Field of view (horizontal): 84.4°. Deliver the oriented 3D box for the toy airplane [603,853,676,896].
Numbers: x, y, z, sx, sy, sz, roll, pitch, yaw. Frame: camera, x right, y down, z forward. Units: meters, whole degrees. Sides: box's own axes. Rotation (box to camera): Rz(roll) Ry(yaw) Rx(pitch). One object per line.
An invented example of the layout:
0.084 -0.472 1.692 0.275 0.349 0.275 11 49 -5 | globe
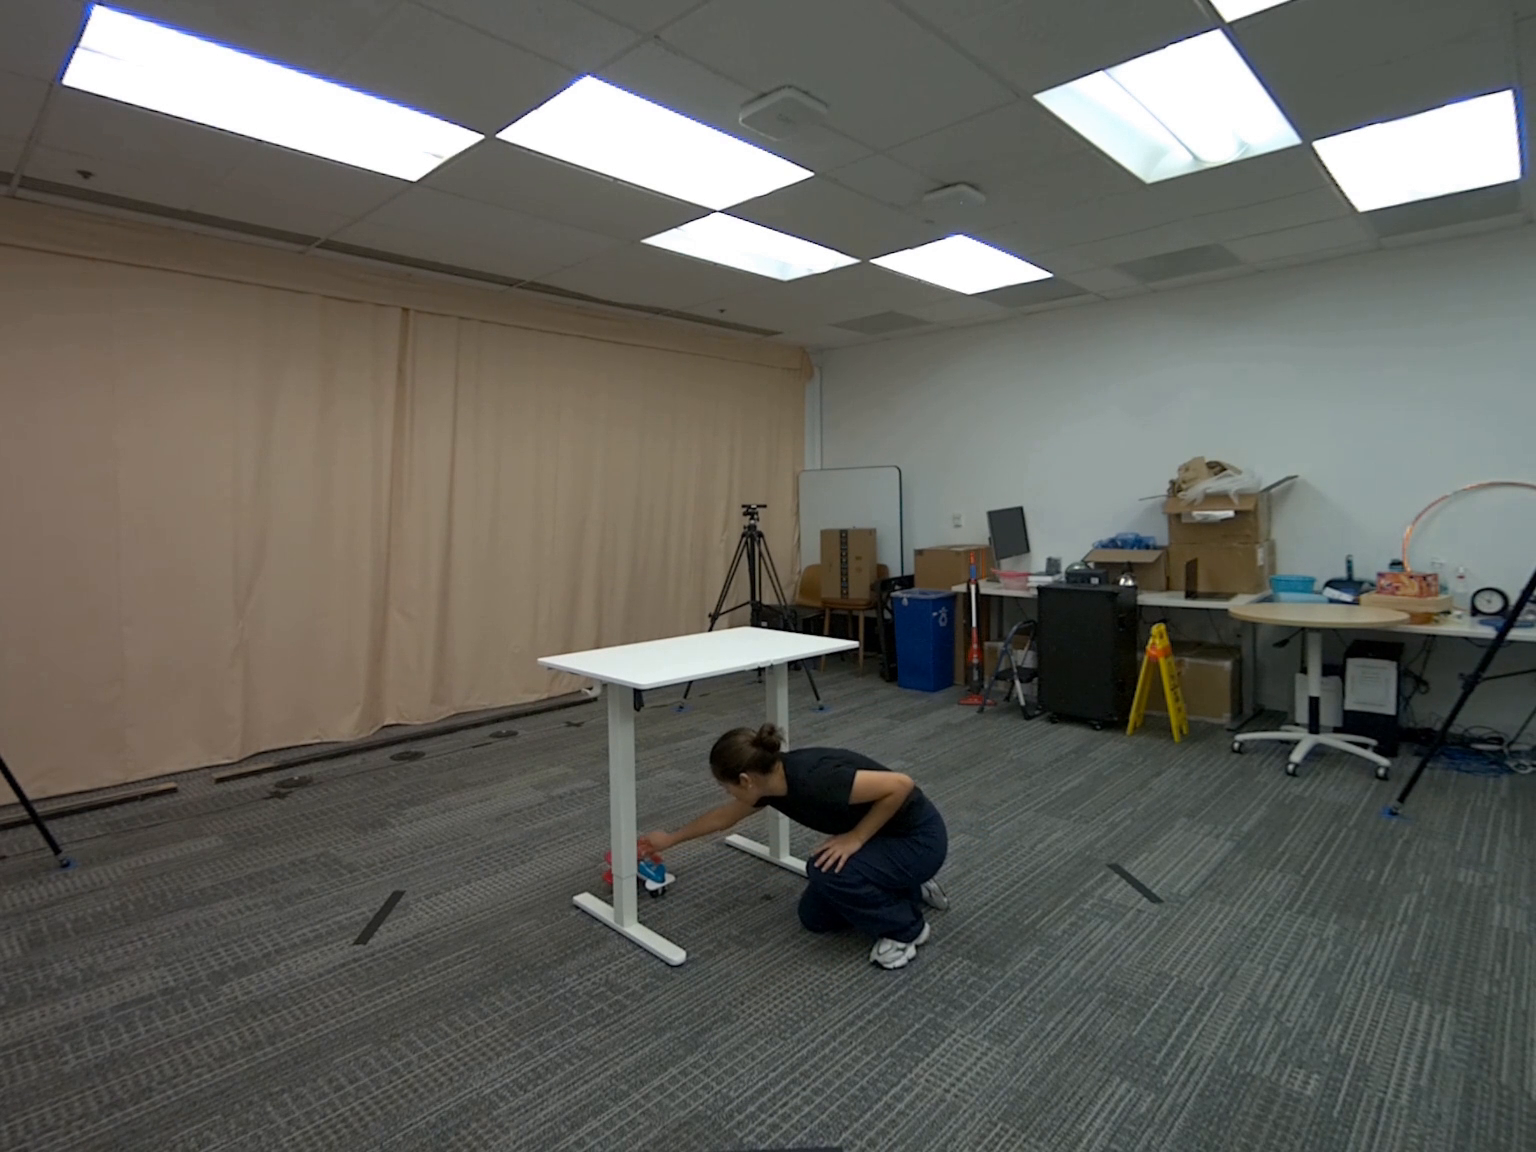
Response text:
-0.439 1.067 3.081 0.263 0.156 0.248 -2 4 14 | toy airplane
